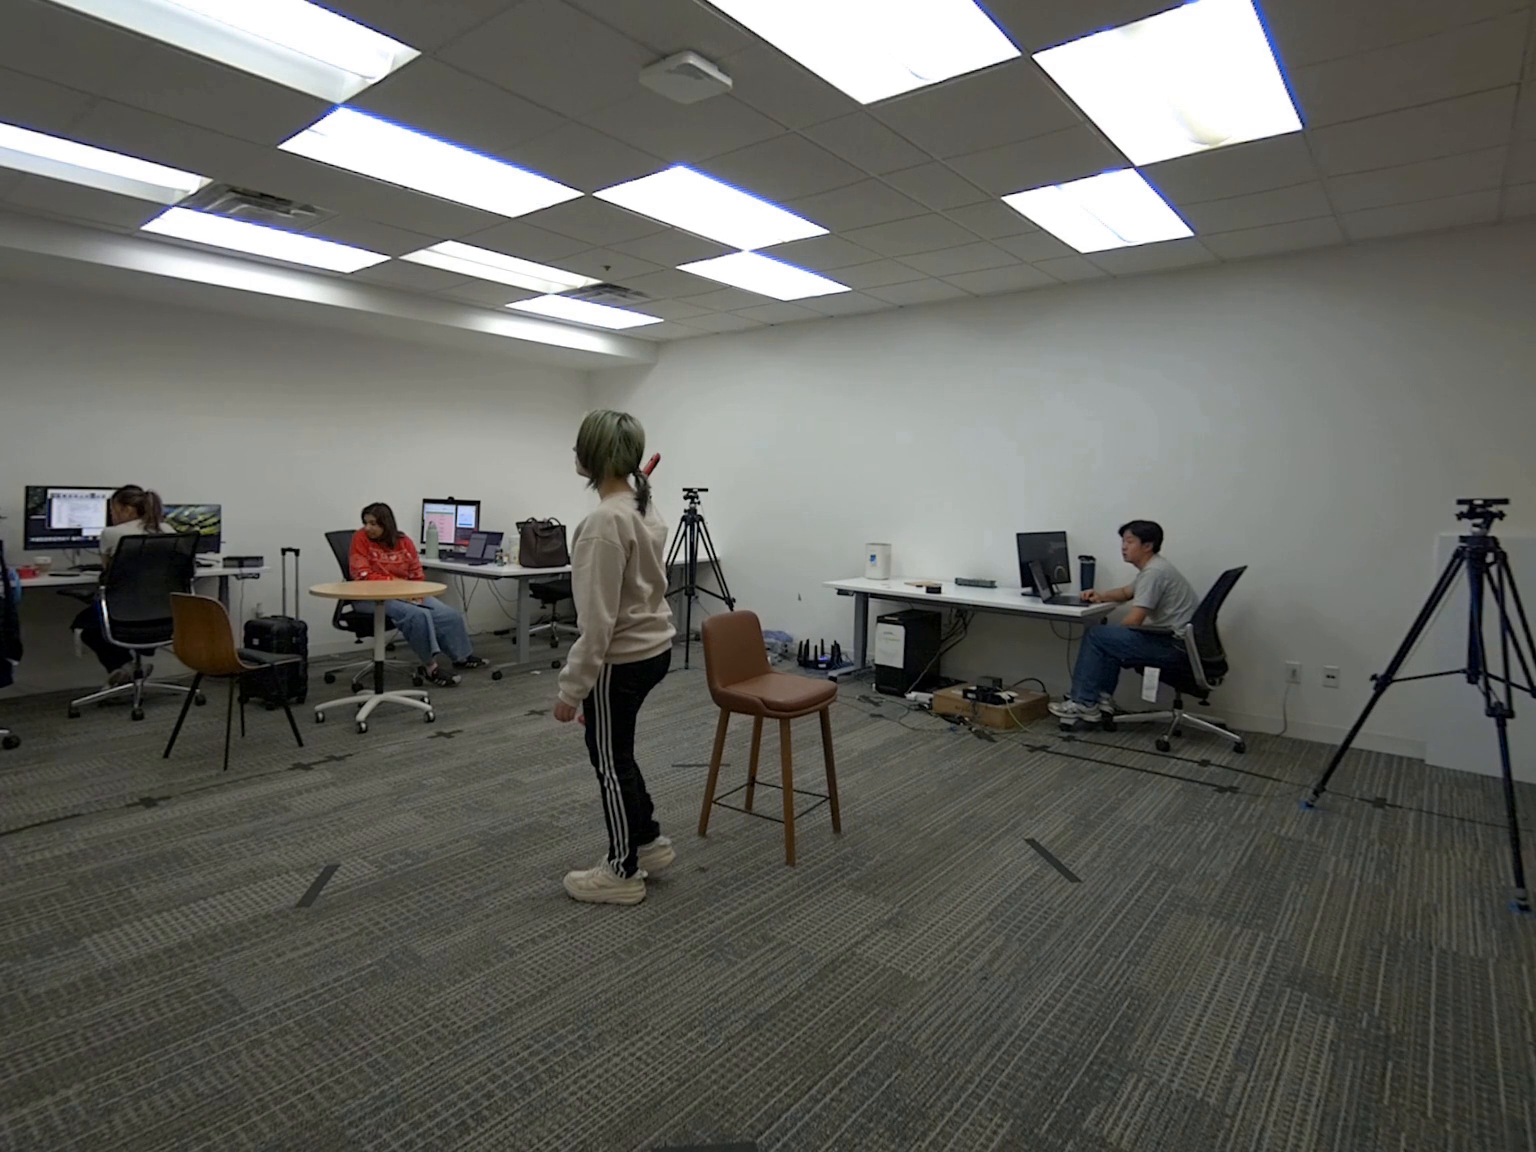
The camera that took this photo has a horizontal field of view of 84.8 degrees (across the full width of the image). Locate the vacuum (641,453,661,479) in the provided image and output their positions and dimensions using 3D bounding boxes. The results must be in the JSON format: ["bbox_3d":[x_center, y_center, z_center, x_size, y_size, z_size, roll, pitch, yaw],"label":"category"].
[{"bbox_3d":[-0.541,0.043,3.289,0.261,1.048,0.139,11,1,36],"label":"vacuum"}]
